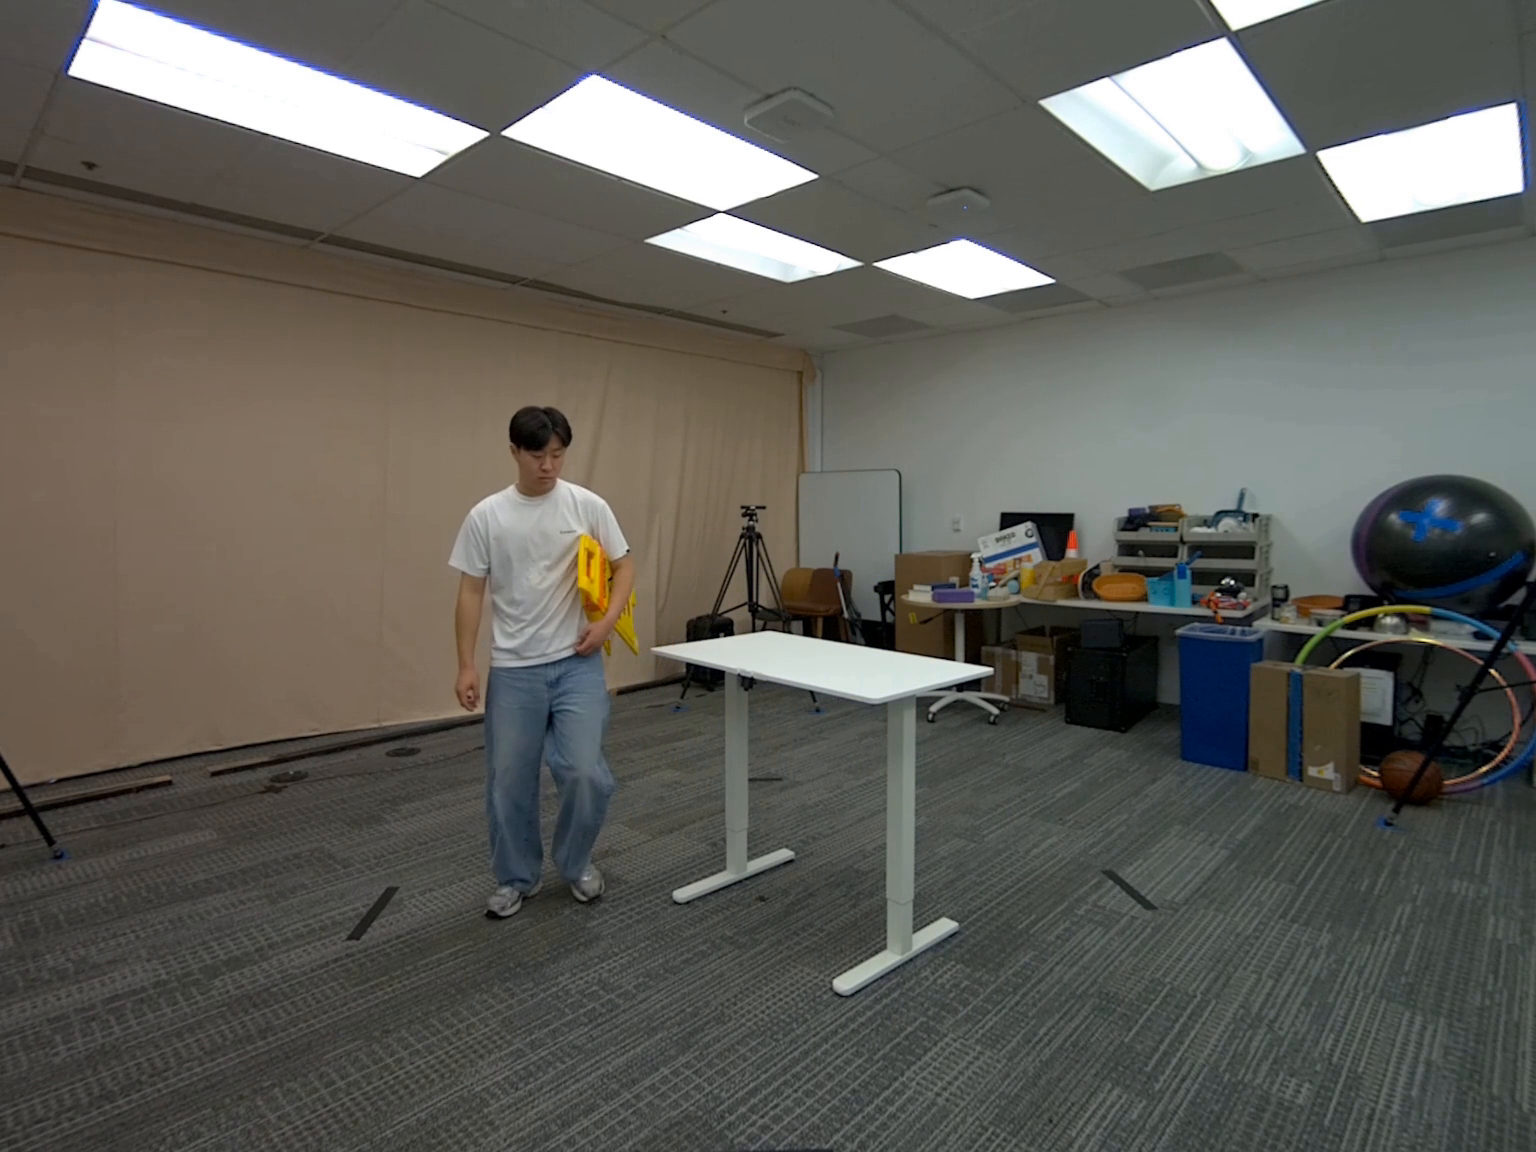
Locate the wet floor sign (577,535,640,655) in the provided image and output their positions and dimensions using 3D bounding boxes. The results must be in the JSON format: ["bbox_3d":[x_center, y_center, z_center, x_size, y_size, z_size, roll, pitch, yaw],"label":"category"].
[{"bbox_3d":[-0.586,0.069,3.036,0.290,0.286,0.635,-5,-22,1],"label":"wet floor sign"}]
